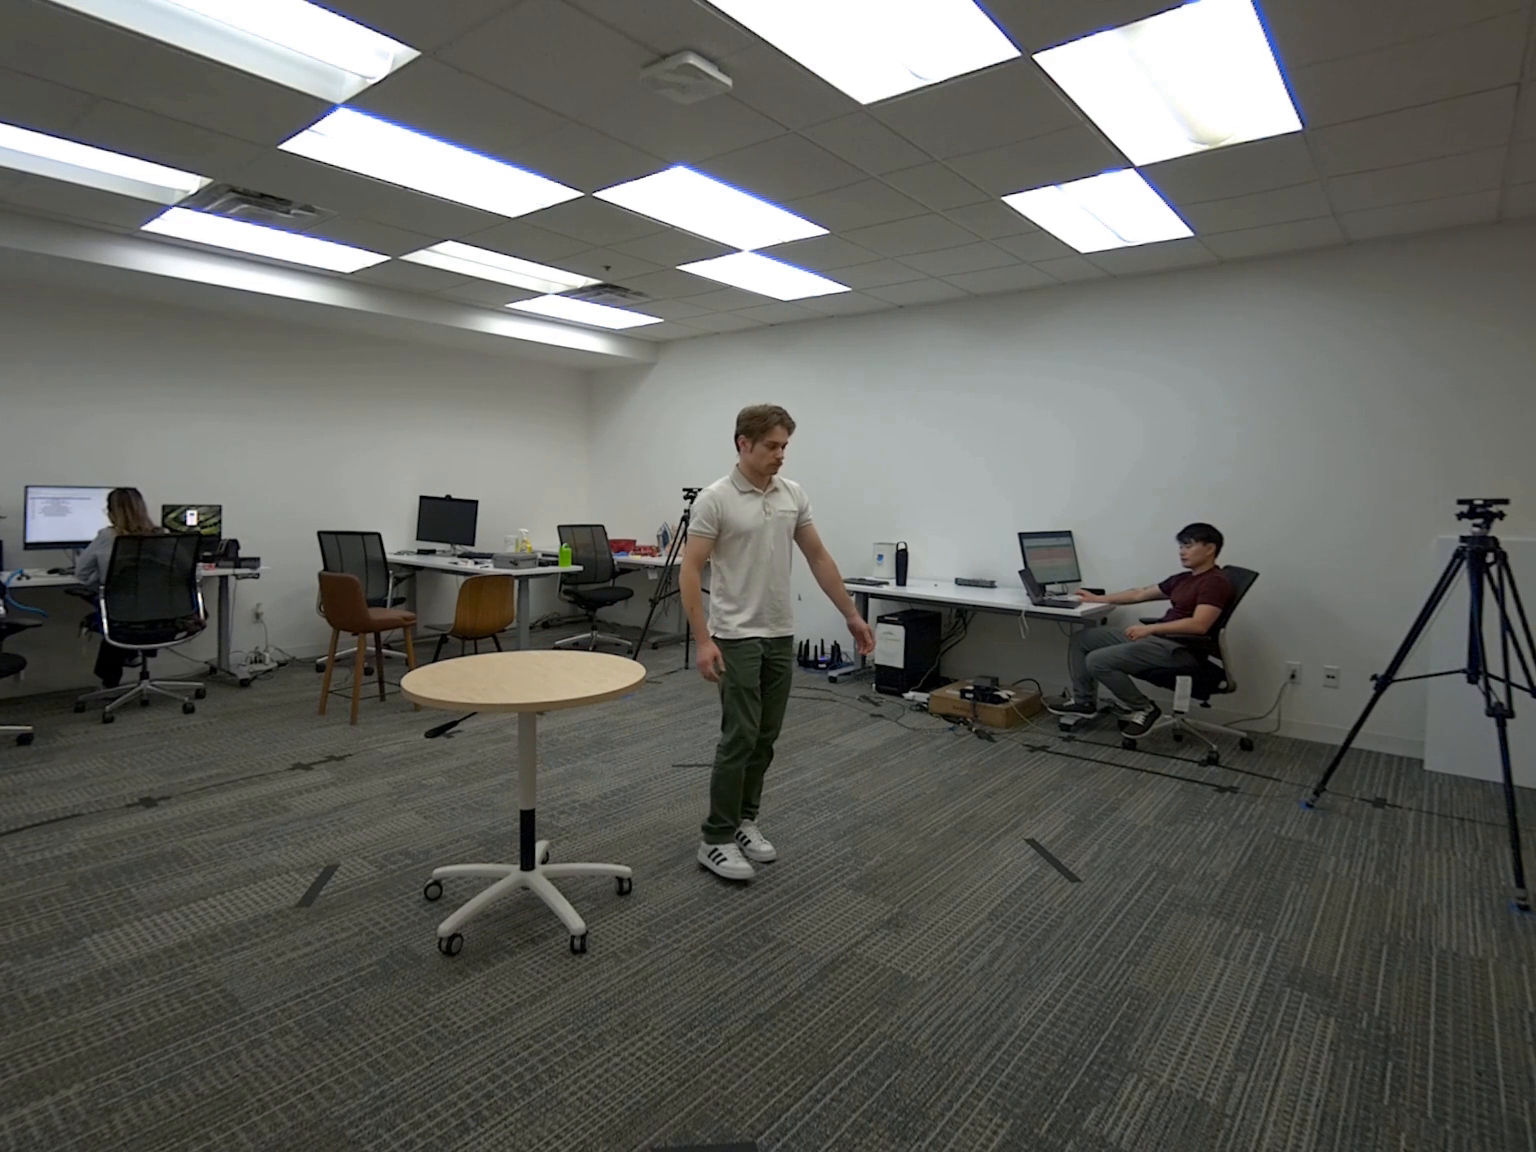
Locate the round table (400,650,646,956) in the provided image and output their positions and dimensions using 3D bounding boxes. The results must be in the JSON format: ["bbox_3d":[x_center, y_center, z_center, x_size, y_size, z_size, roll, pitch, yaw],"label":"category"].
[{"bbox_3d":[-0.795,0.708,2.759,0.763,0.791,0.768,0,5,-2],"label":"round table"}]
